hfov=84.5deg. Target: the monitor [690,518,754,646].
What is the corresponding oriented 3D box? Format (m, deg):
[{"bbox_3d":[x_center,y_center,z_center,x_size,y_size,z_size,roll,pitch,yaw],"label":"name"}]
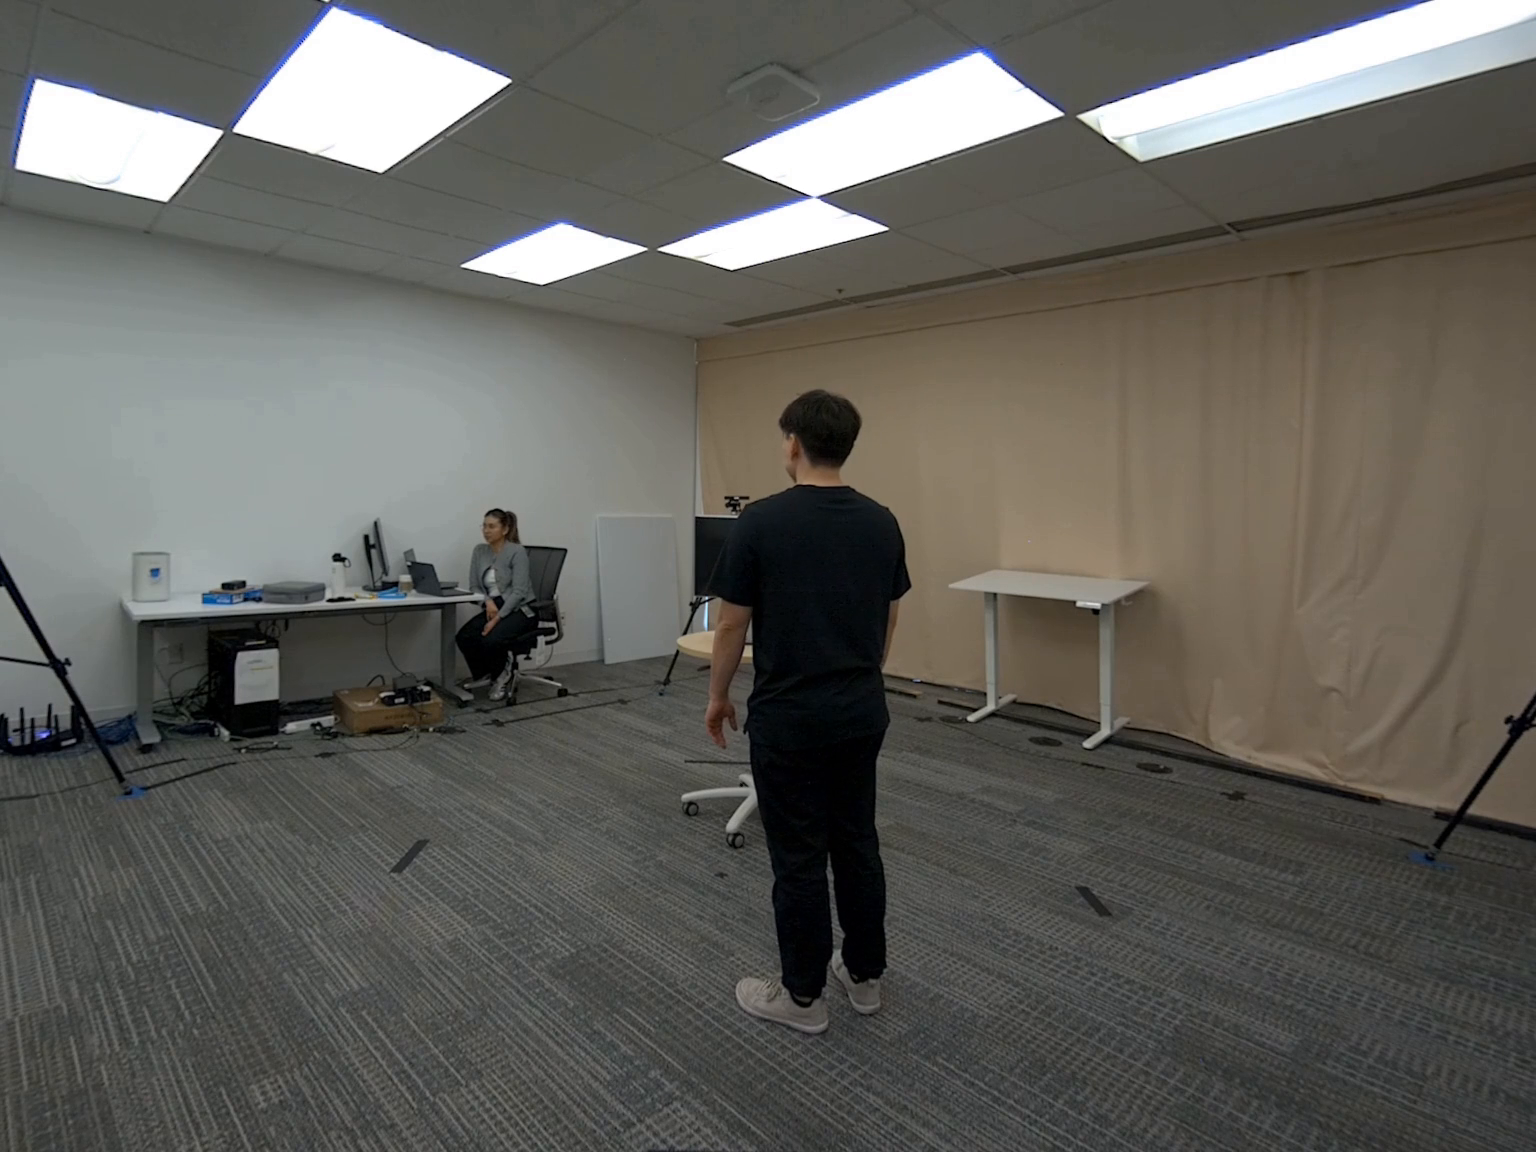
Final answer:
[{"bbox_3d":[-0.045,0.022,3.609,0.540,0.522,0.187,2,1,3],"label":"monitor"}]
